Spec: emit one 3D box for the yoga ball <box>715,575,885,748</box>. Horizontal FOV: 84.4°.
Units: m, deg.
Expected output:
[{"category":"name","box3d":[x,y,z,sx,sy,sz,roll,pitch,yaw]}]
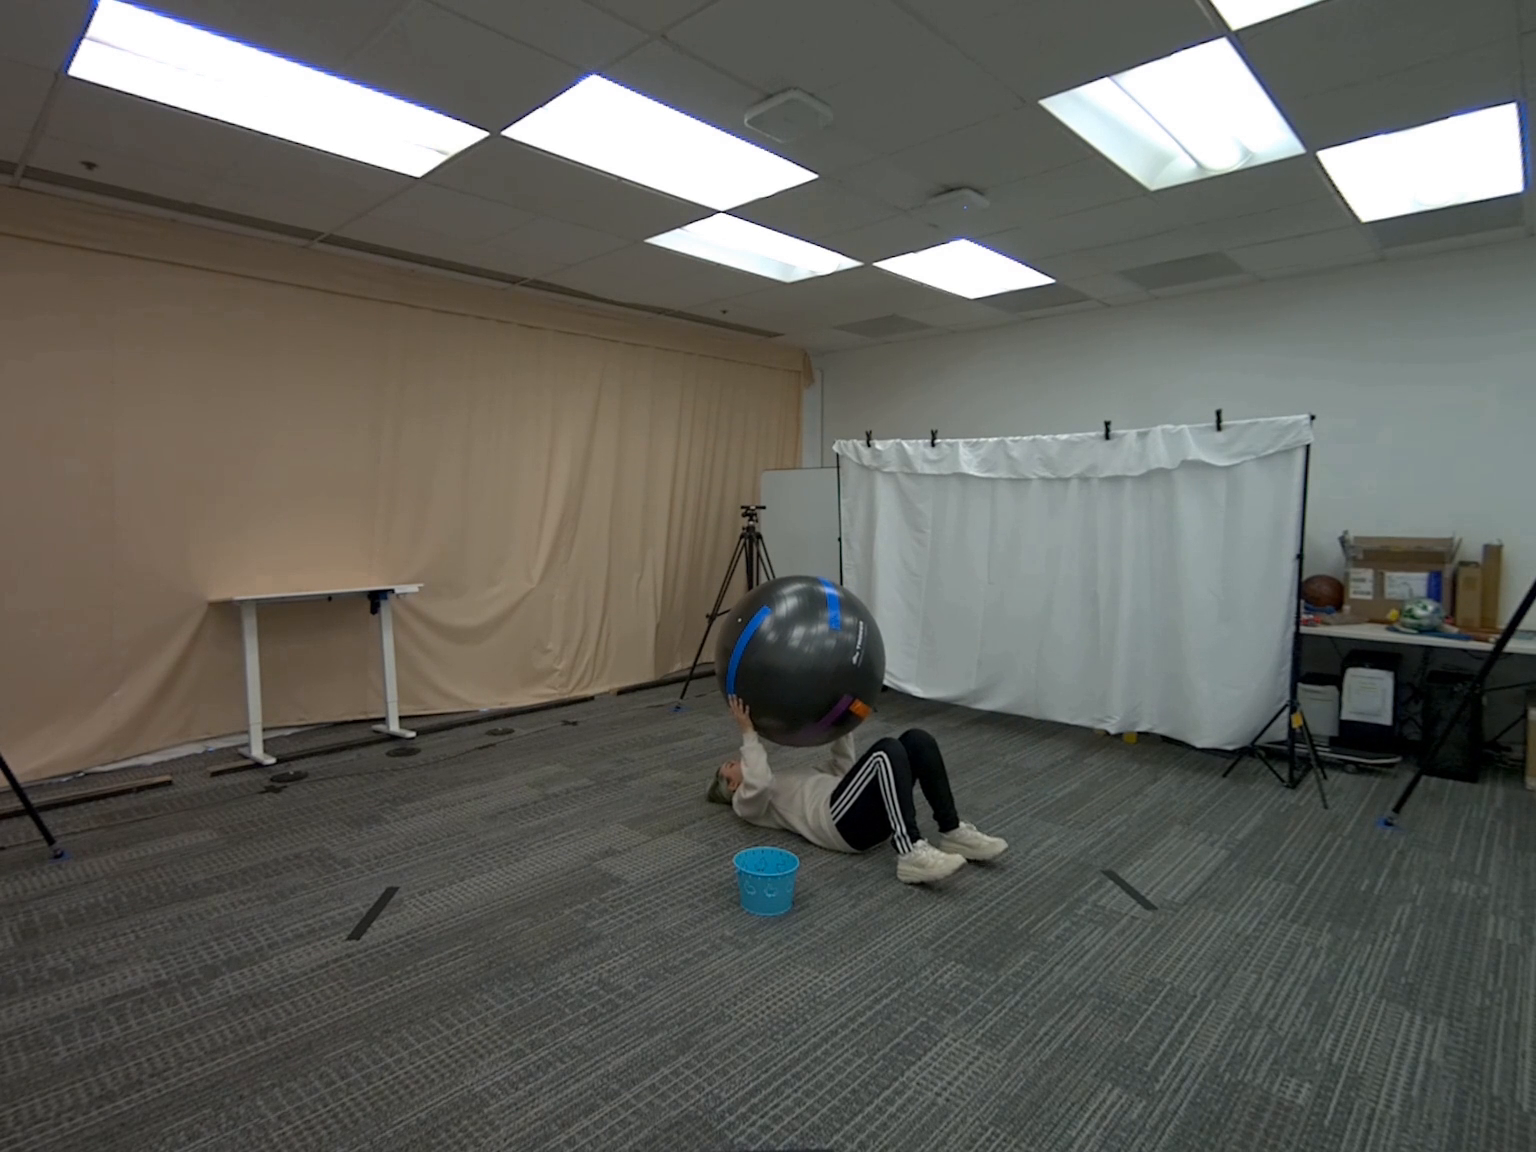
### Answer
[{"category":"yoga ball","box3d":[0.144,0.375,3.750,0.757,0.756,0.760,0,4,-2]}]
